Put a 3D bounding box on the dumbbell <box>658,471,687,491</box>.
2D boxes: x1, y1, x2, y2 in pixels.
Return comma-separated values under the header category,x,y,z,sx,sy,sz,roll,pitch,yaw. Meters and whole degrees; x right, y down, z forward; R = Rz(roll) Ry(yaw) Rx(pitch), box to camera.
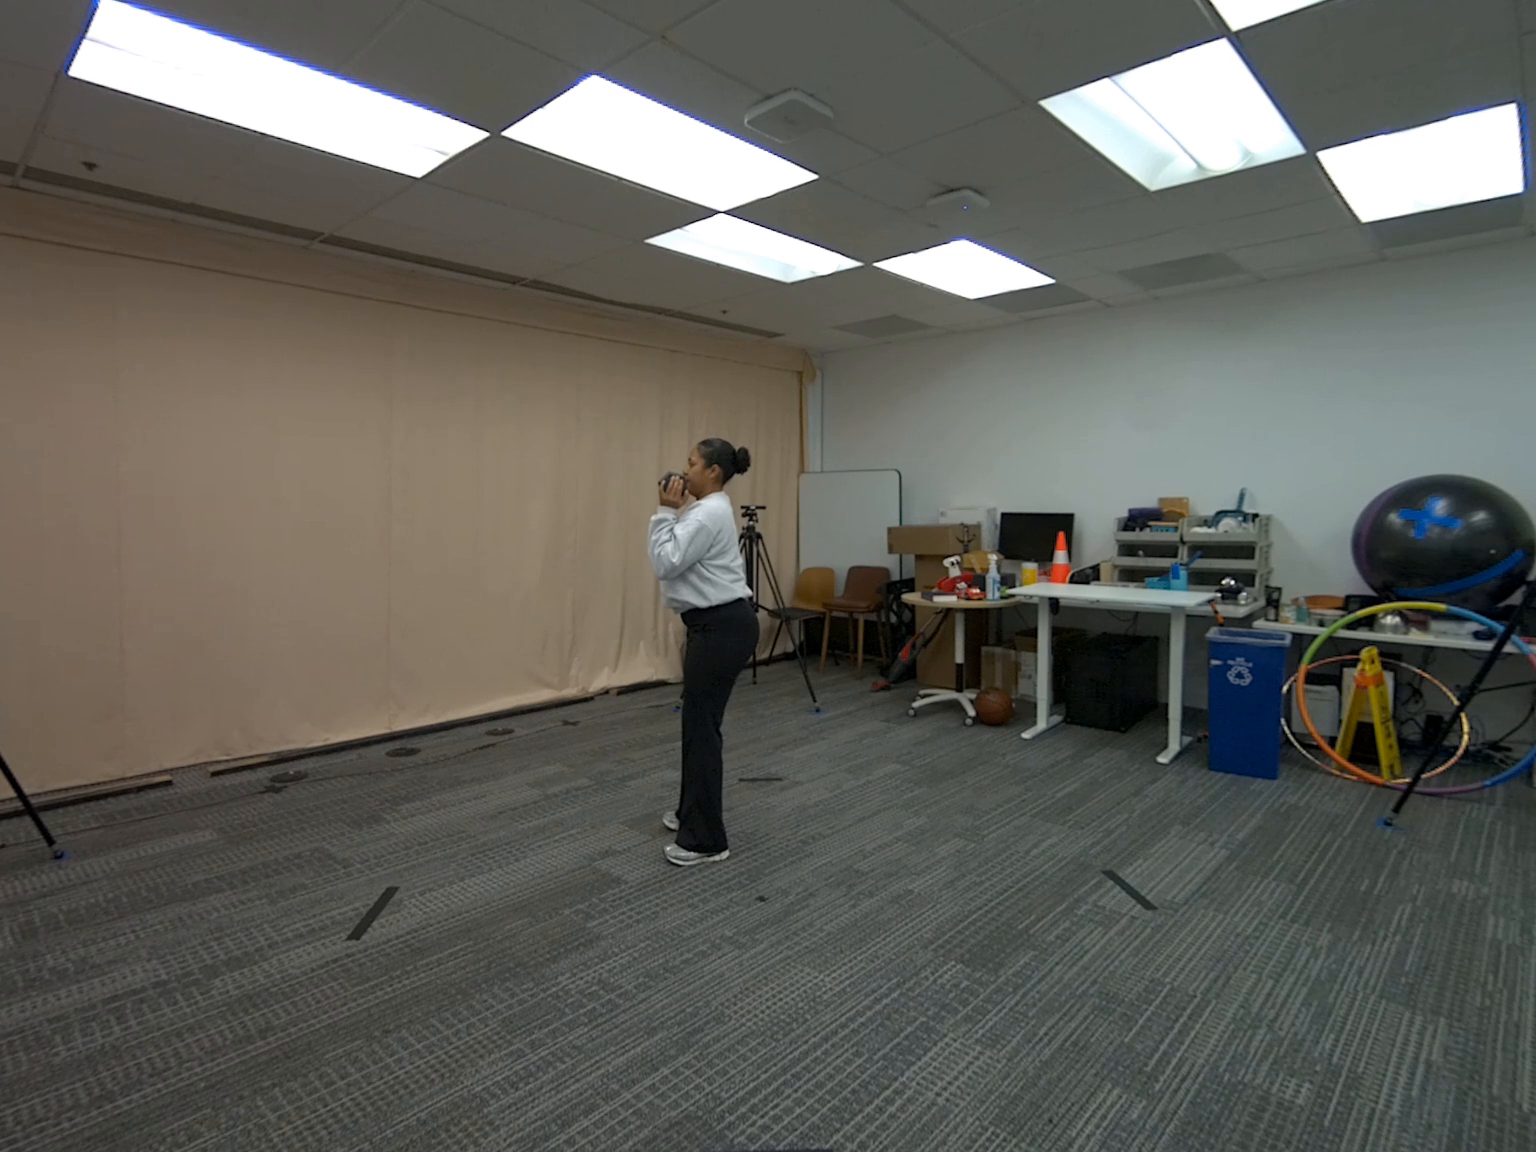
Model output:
category,x,y,z,sx,sy,sz,roll,pitch,yaw
dumbbell,-0.376,-0.342,3.403,0.123,0.107,0.296,-41,10,0
